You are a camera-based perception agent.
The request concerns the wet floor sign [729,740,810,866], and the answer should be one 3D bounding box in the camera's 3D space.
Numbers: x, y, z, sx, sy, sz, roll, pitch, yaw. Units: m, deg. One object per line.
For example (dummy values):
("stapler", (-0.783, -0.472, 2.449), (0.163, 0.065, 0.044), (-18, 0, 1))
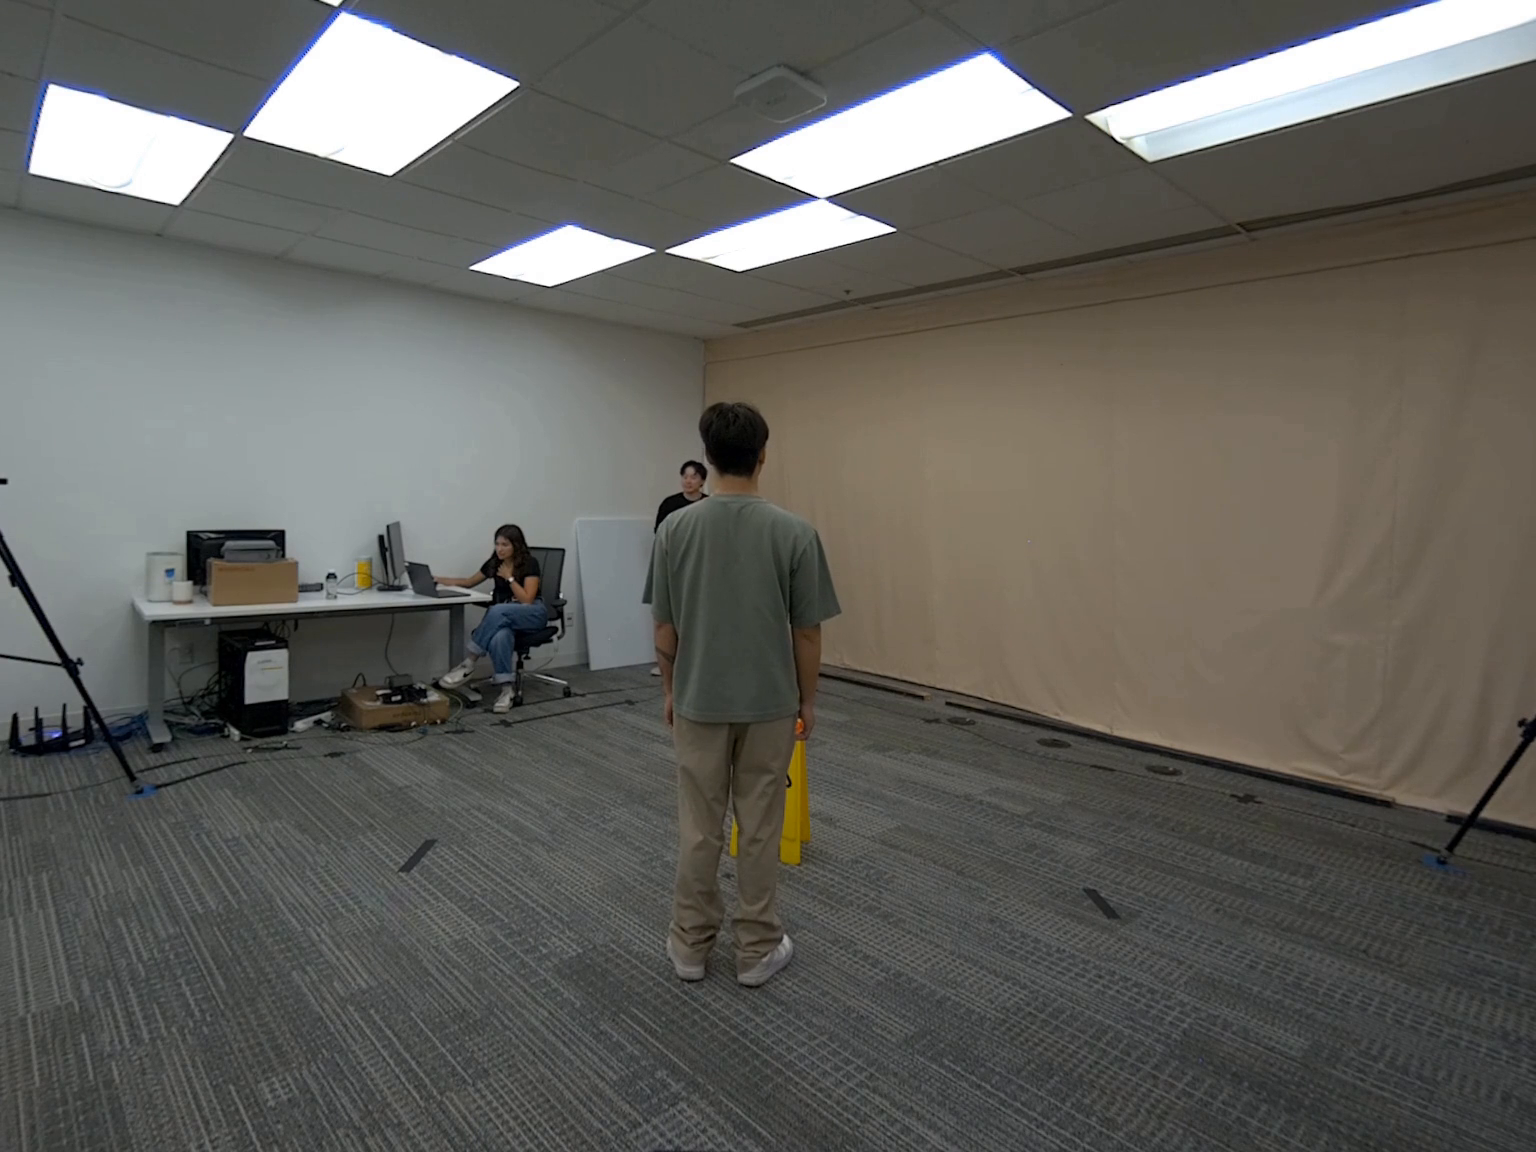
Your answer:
("wet floor sign", (0.011, 0.771, 3.355), (0.285, 0.645, 0.287), (3, 2, 13))
